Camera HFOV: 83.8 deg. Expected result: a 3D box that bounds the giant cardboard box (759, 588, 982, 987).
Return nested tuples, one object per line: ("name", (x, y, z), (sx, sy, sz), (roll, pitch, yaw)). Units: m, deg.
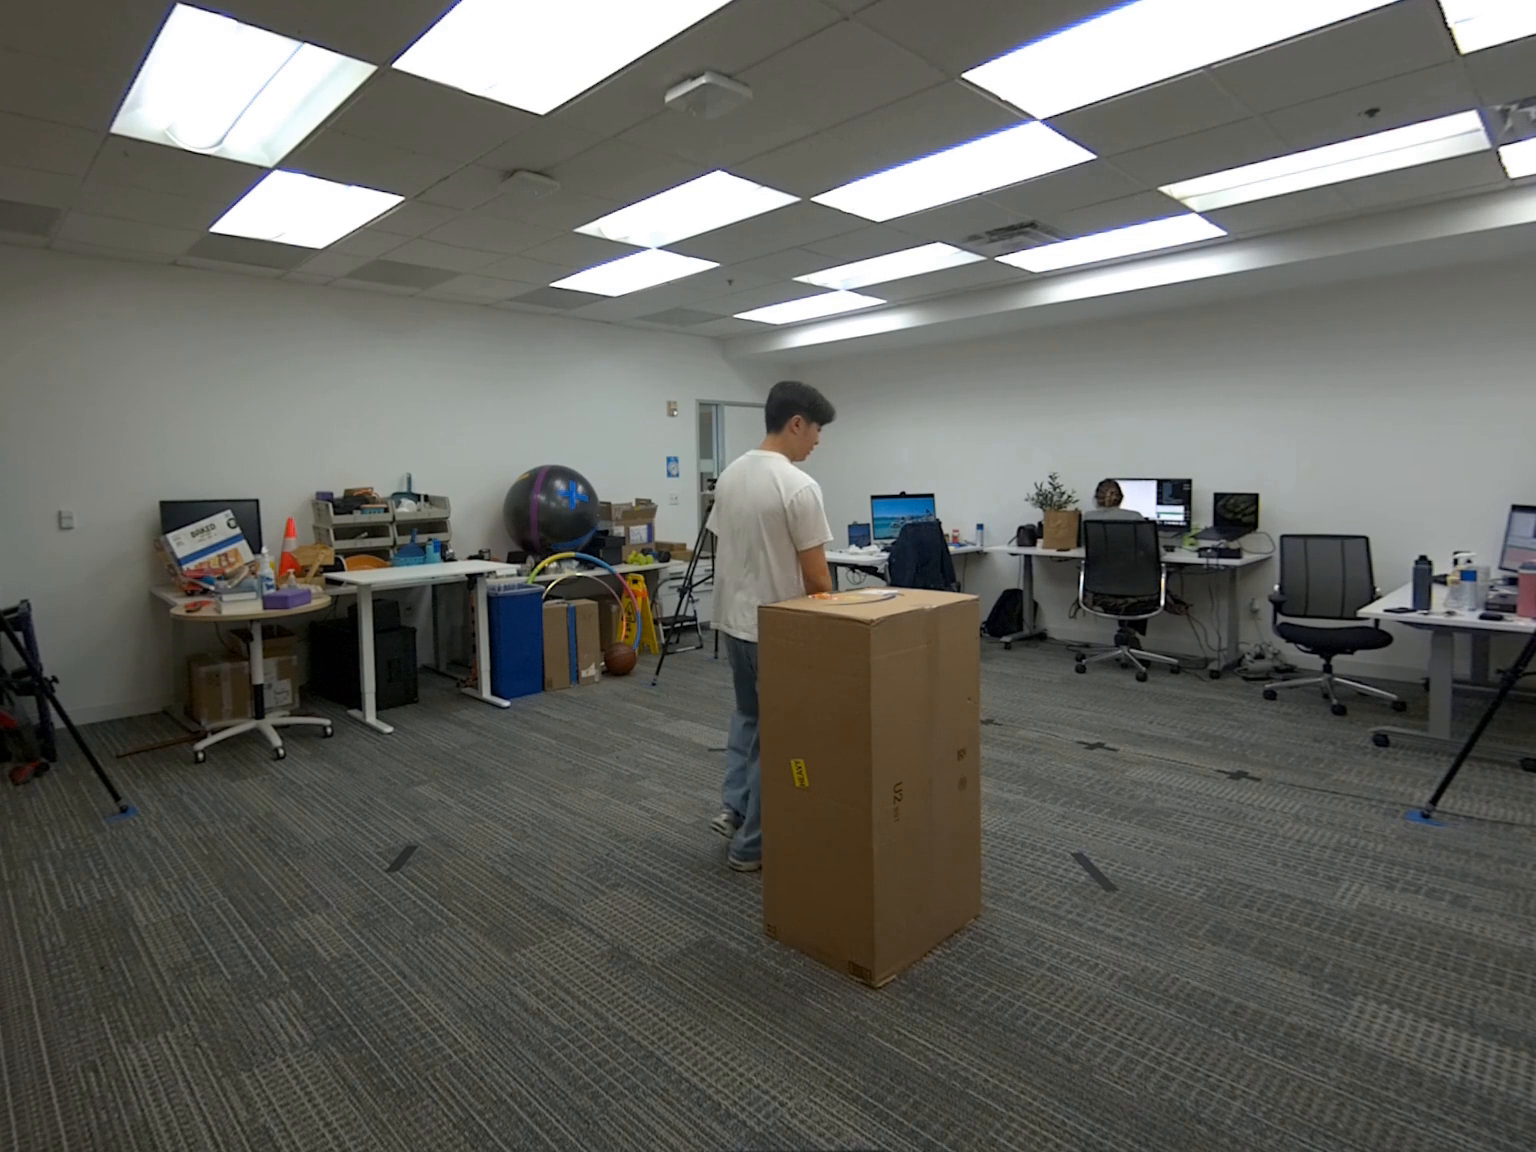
("giant cardboard box", (0.330, 0.584, 2.640), (0.439, 1.022, 0.562), (2, 5, 45))
